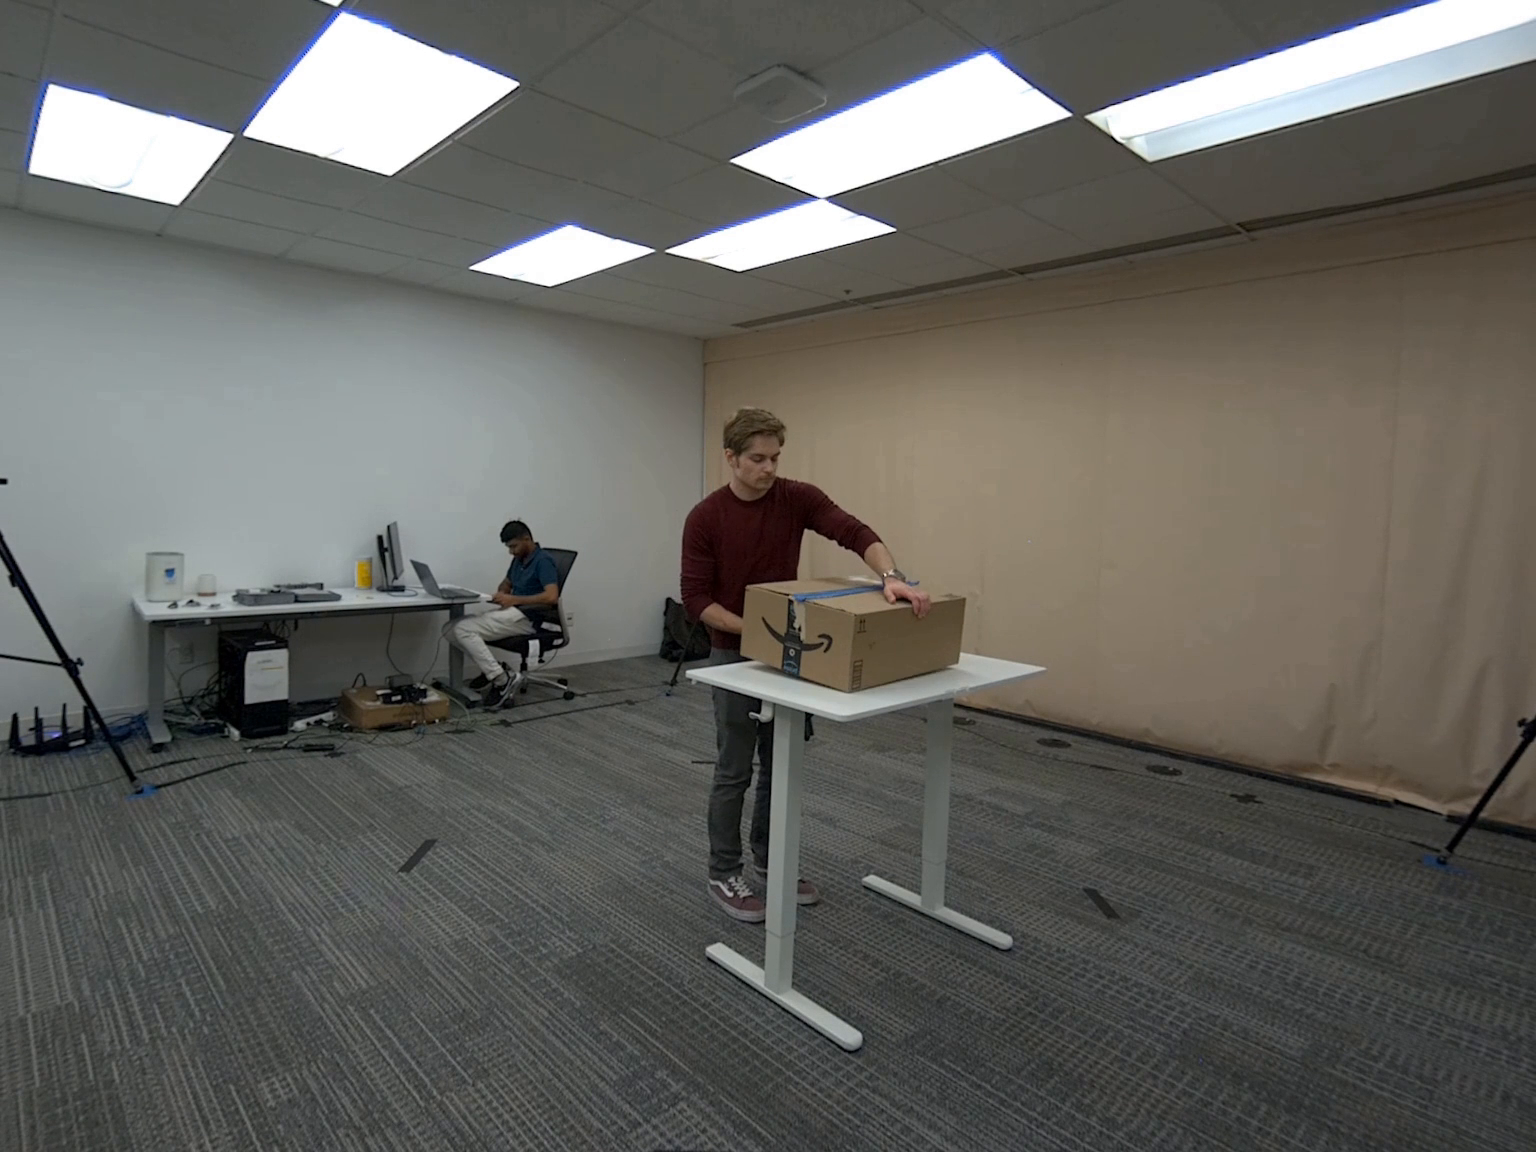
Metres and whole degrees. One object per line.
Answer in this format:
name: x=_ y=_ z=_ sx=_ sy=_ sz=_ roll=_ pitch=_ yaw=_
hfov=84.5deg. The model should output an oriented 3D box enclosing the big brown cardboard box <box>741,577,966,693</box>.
big brown cardboard box: x=0.258 y=0.149 z=2.560 sx=0.429 sy=0.232 sz=0.576 roll=13 pitch=13 yaw=43
